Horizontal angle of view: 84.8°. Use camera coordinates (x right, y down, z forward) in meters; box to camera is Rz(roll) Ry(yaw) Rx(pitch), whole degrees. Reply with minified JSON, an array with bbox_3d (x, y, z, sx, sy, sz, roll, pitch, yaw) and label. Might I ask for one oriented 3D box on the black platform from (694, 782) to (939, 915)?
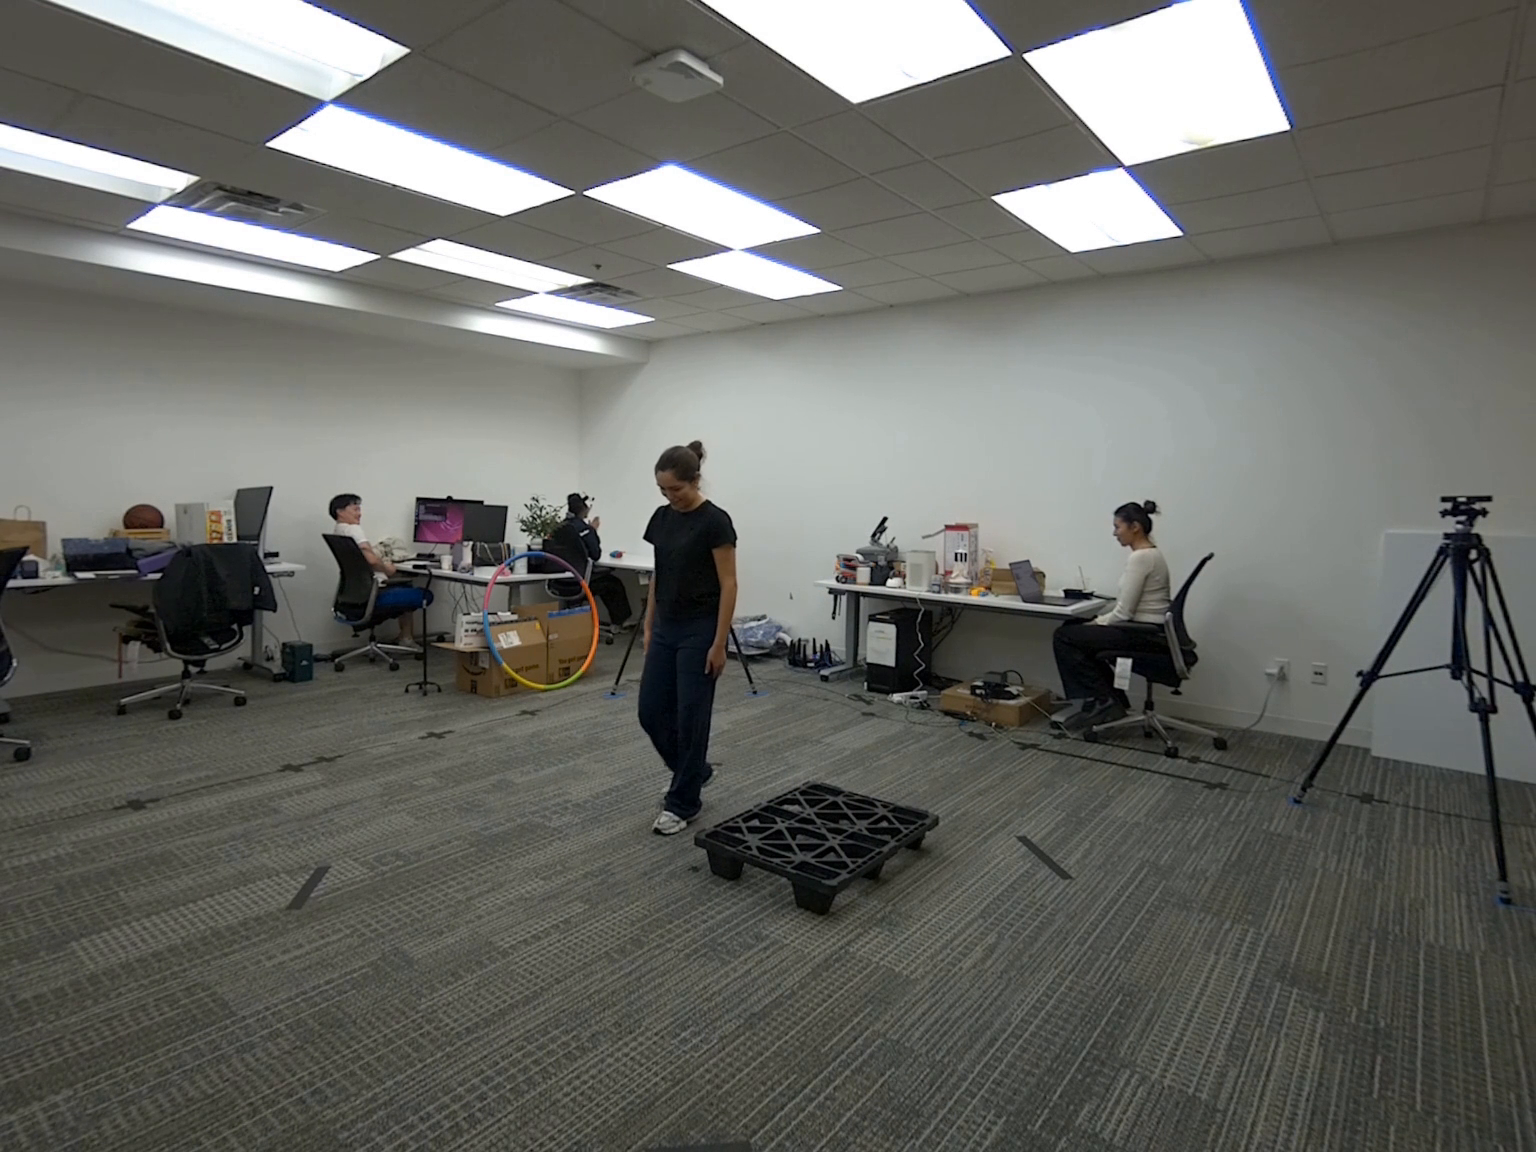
[{"bbox_3d":[0.211,0.999,3.205,0.625,0.143,0.782,5,6,38],"label":"black platform"}]
